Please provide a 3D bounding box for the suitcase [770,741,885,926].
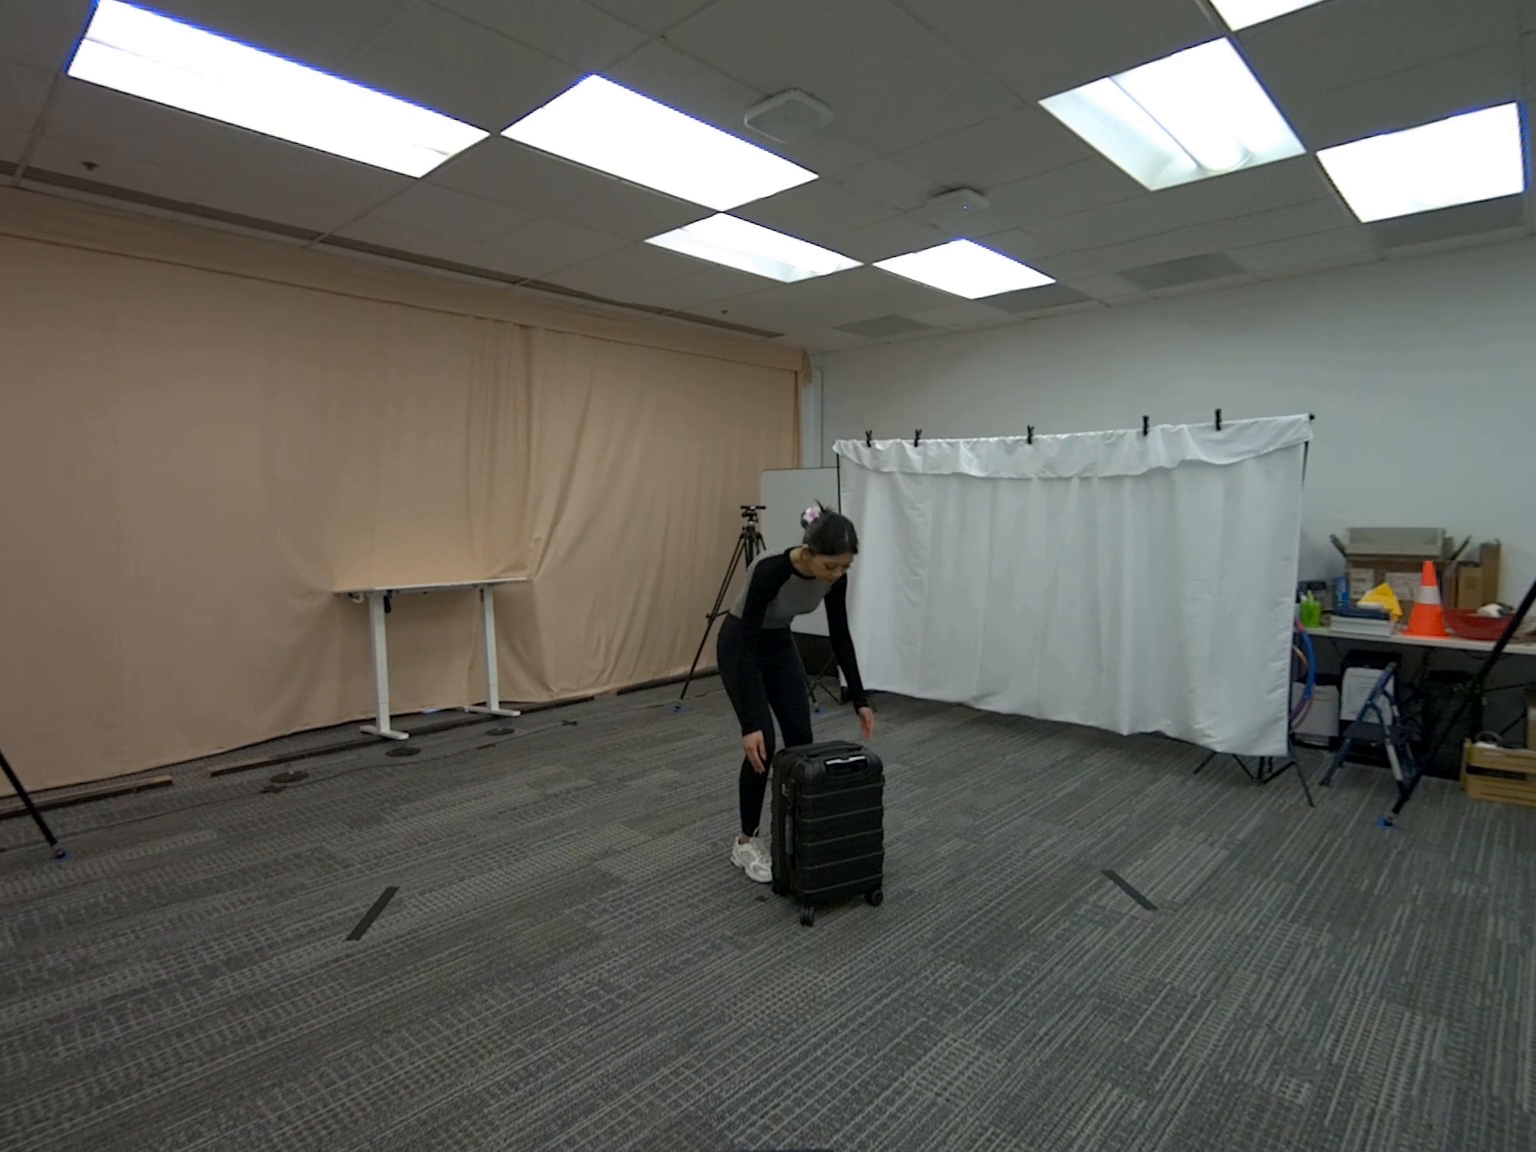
[{"bbox_3d":[0.206,0.865,2.964,0.366,0.548,0.255,-2,4,-26],"label":"suitcase"}]
